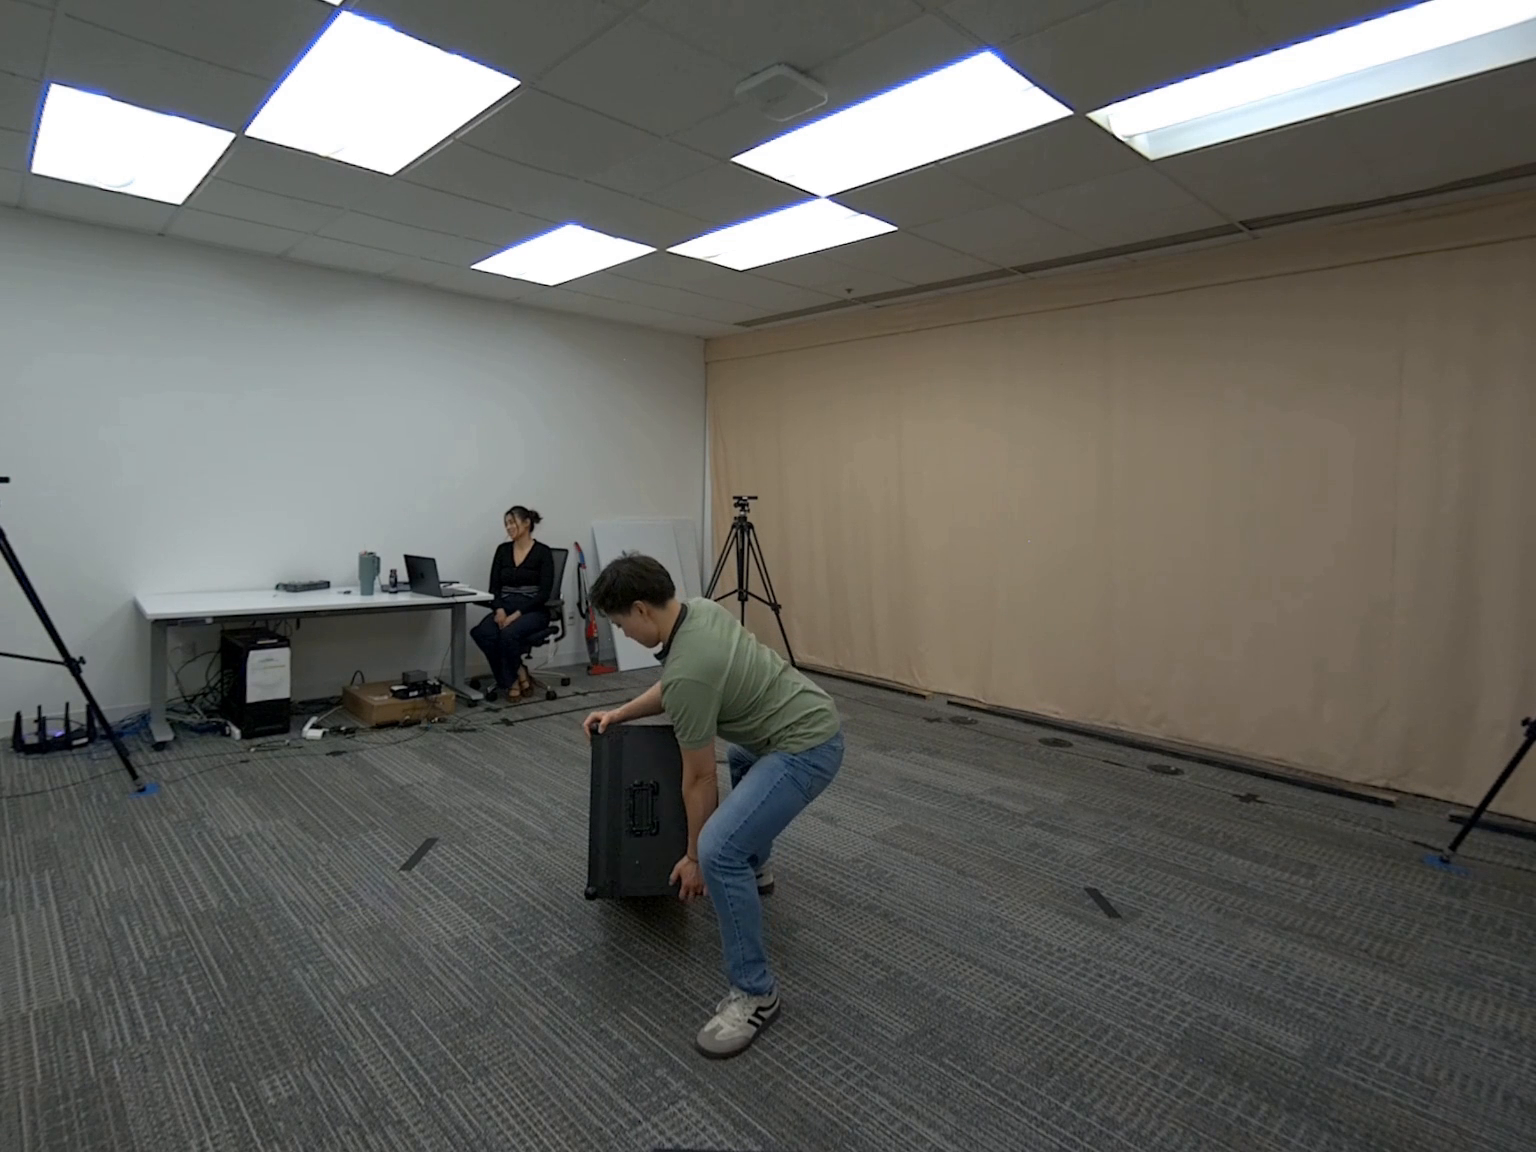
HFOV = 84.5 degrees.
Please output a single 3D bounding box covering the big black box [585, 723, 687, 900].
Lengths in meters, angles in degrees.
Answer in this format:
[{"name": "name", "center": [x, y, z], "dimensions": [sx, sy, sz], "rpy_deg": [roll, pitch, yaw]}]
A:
[{"name": "big black box", "center": [-0.428, 0.771, 2.865], "dimensions": [0.393, 0.527, 0.860], "rpy_deg": [2, -13, -11]}]
